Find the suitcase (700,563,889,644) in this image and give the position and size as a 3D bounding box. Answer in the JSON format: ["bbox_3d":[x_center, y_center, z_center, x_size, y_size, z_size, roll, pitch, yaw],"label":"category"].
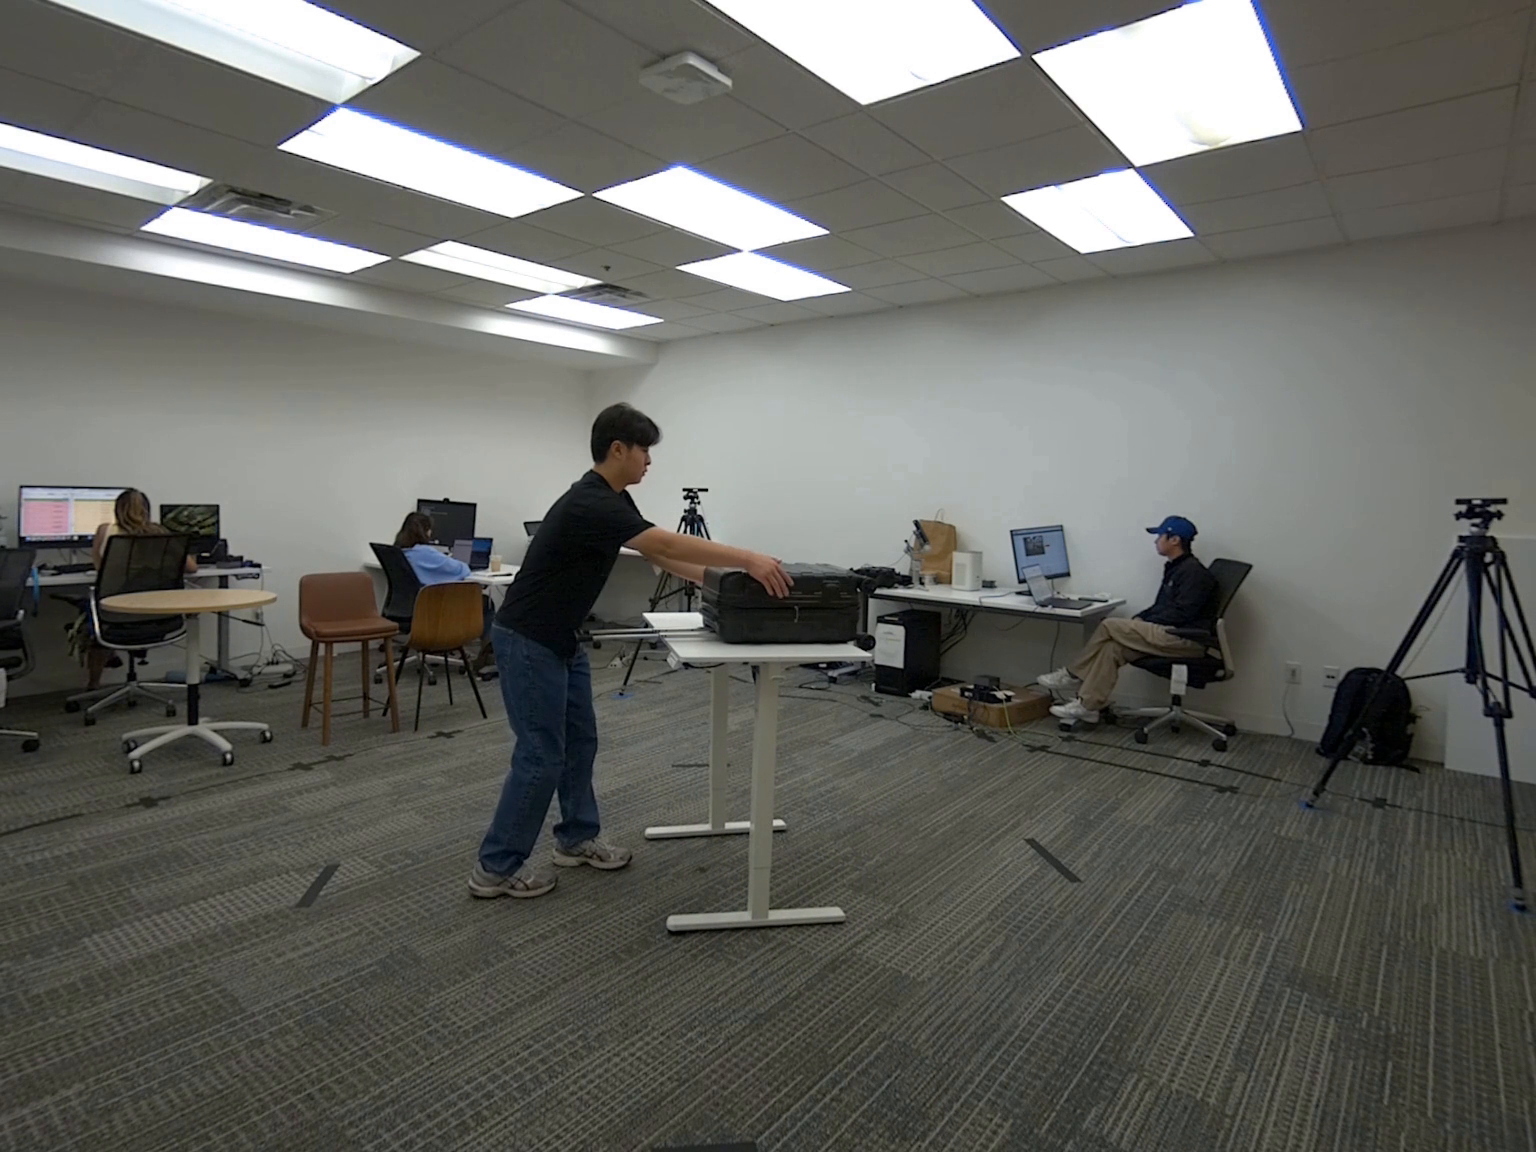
[{"bbox_3d":[-0.156,0.088,2.885,0.963,0.256,0.392,2,5,-15],"label":"suitcase"}]
